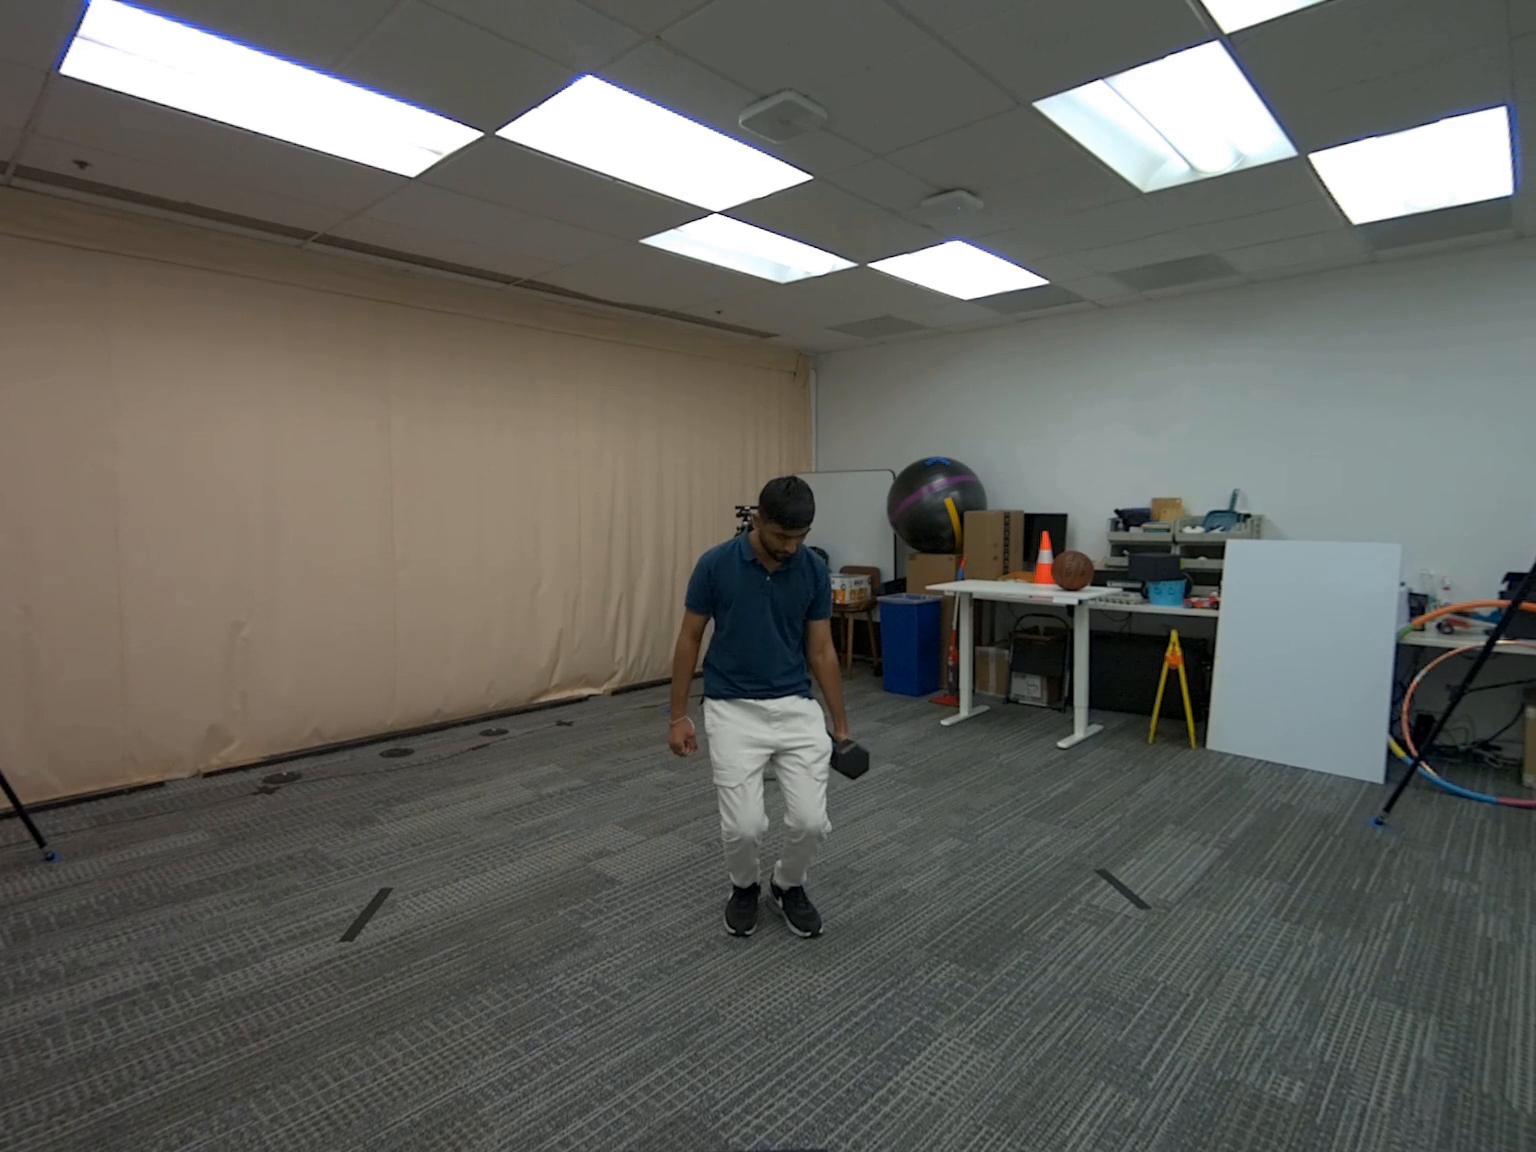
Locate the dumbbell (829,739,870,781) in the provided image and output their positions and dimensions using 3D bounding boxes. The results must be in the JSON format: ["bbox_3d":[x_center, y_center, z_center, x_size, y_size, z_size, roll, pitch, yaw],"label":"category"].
[{"bbox_3d":[0.229,0.587,2.789,0.106,0.123,0.299,2,-1,-20],"label":"dumbbell"}]
